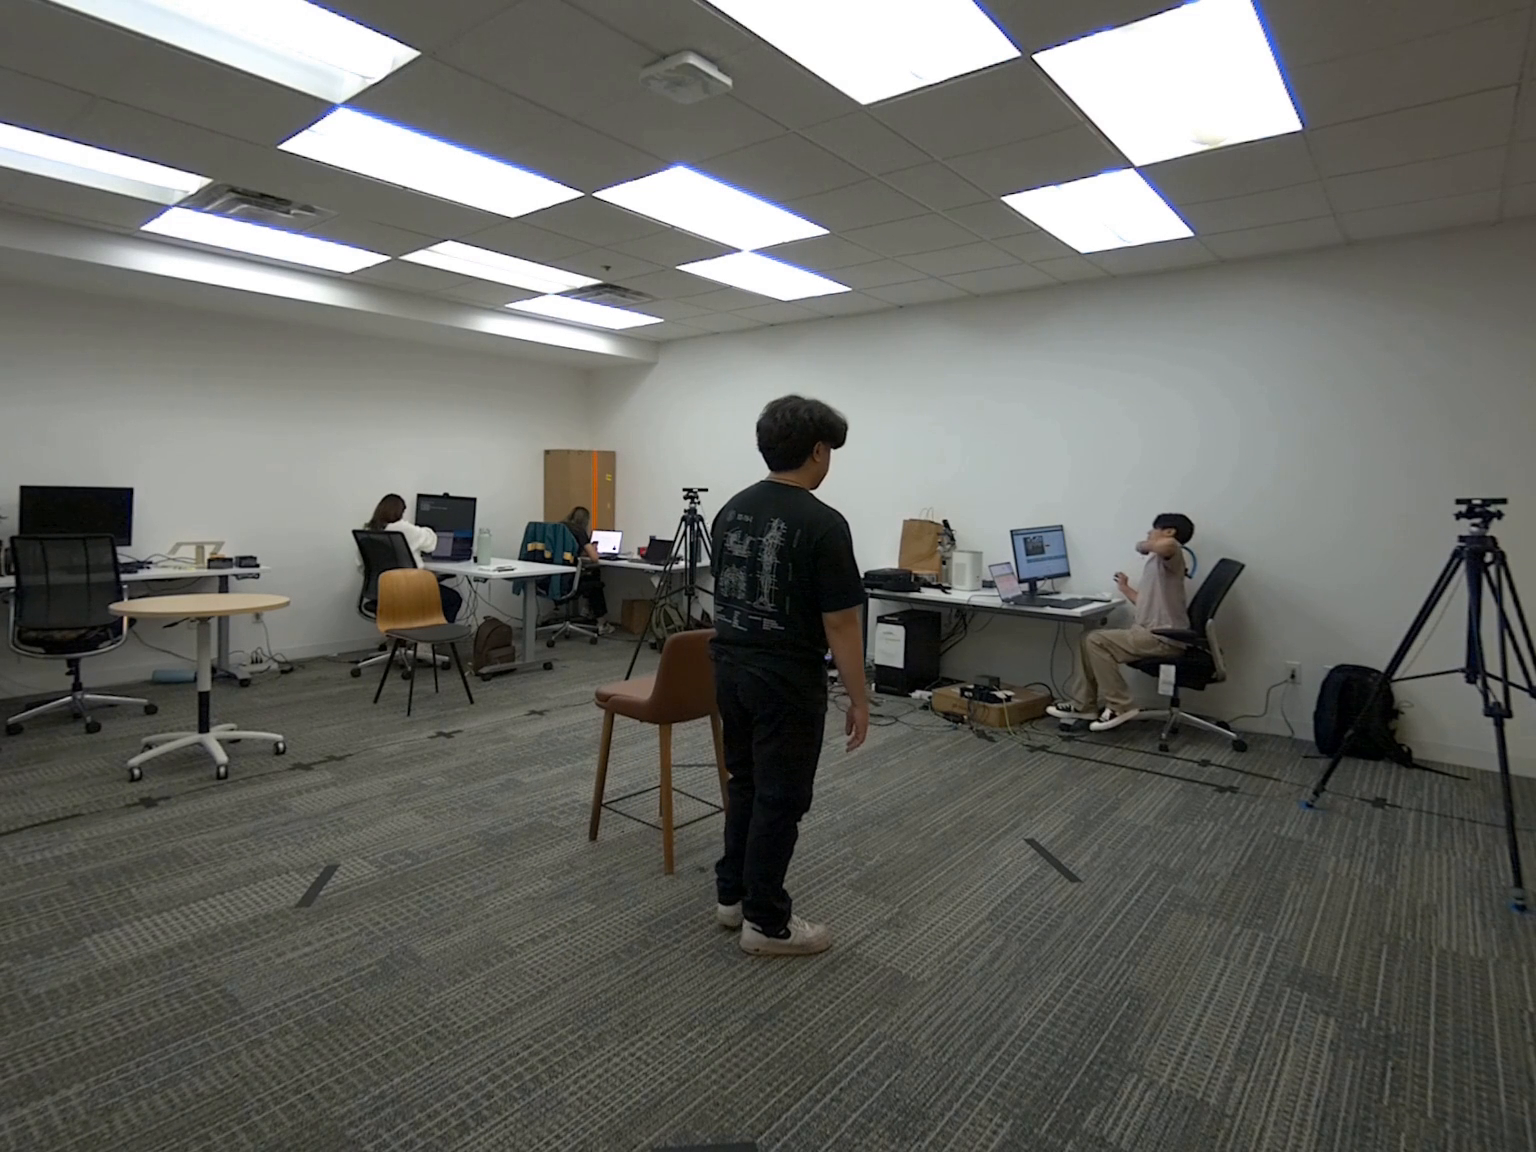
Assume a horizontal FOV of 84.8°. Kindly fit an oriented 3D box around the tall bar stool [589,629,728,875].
[{"bbox_3d":[-0.405,0.611,3.313,0.484,0.886,0.442,6,5,41],"label":"tall bar stool"}]
